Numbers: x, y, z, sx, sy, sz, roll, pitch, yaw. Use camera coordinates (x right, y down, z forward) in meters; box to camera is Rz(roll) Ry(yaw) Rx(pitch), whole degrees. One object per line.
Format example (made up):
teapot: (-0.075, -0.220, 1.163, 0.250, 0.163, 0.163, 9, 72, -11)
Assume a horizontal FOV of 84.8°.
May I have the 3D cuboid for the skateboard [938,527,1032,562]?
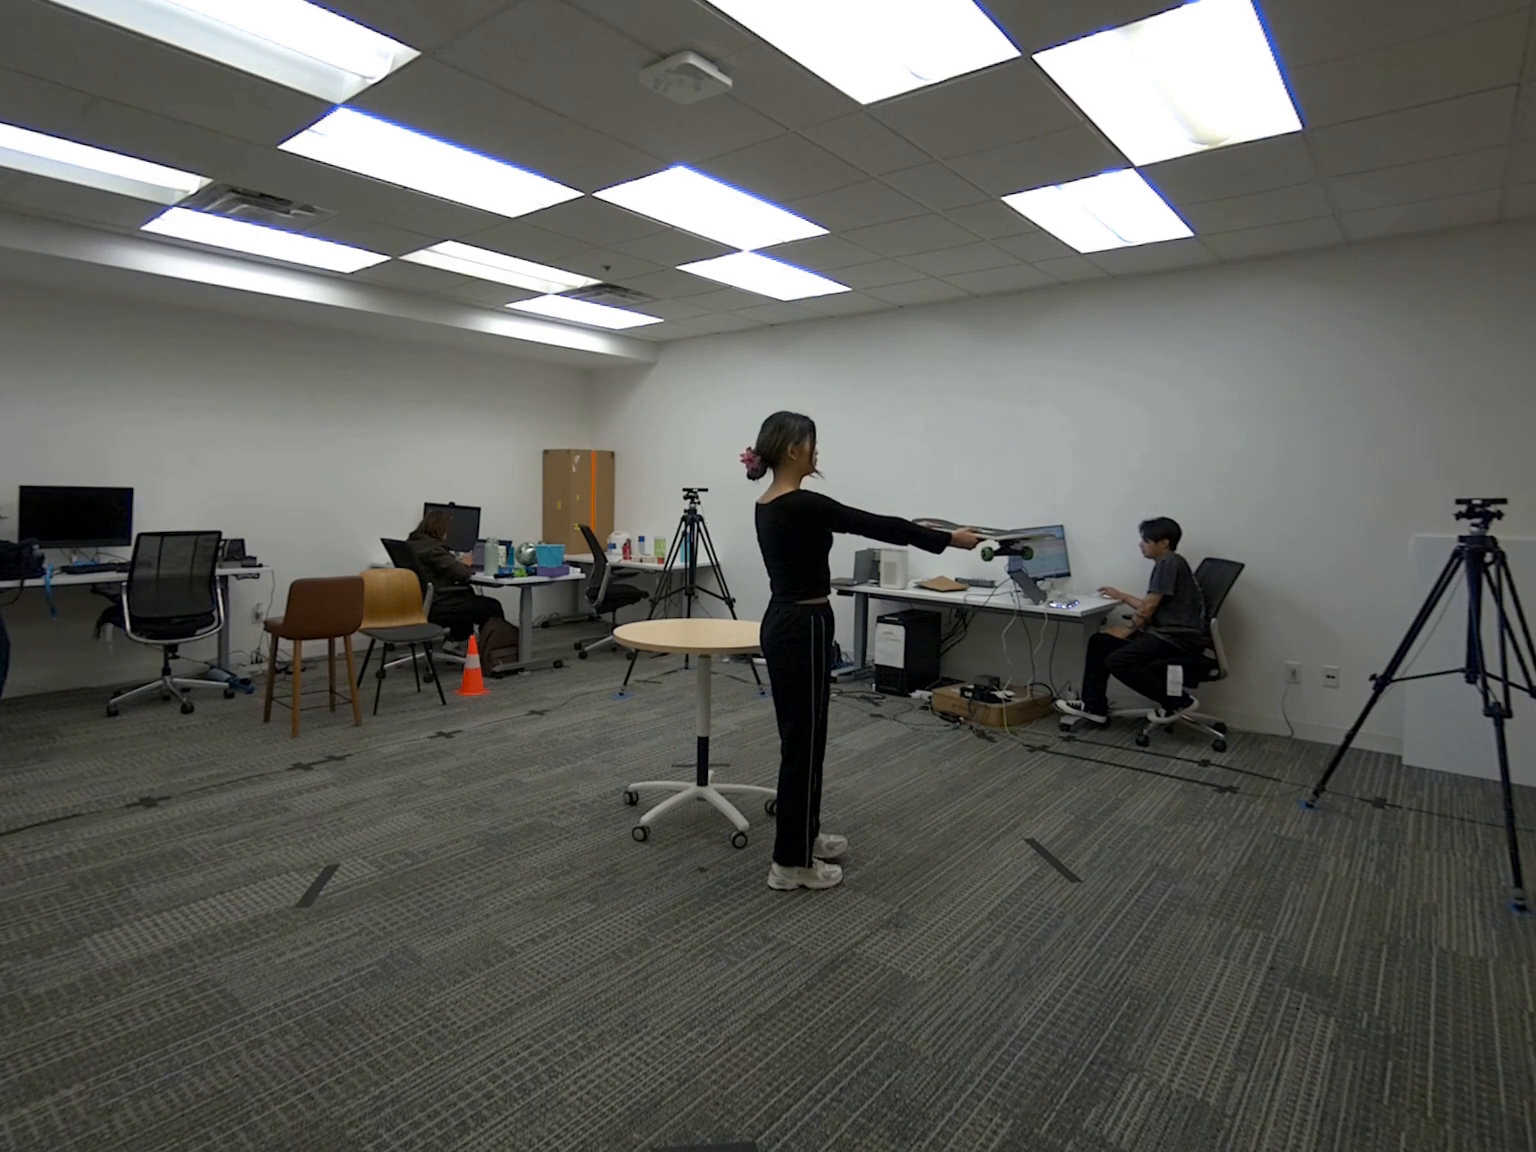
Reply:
skateboard: (0.750, -0.126, 3.063, 0.191, 0.109, 0.799, -4, 8, -13)
